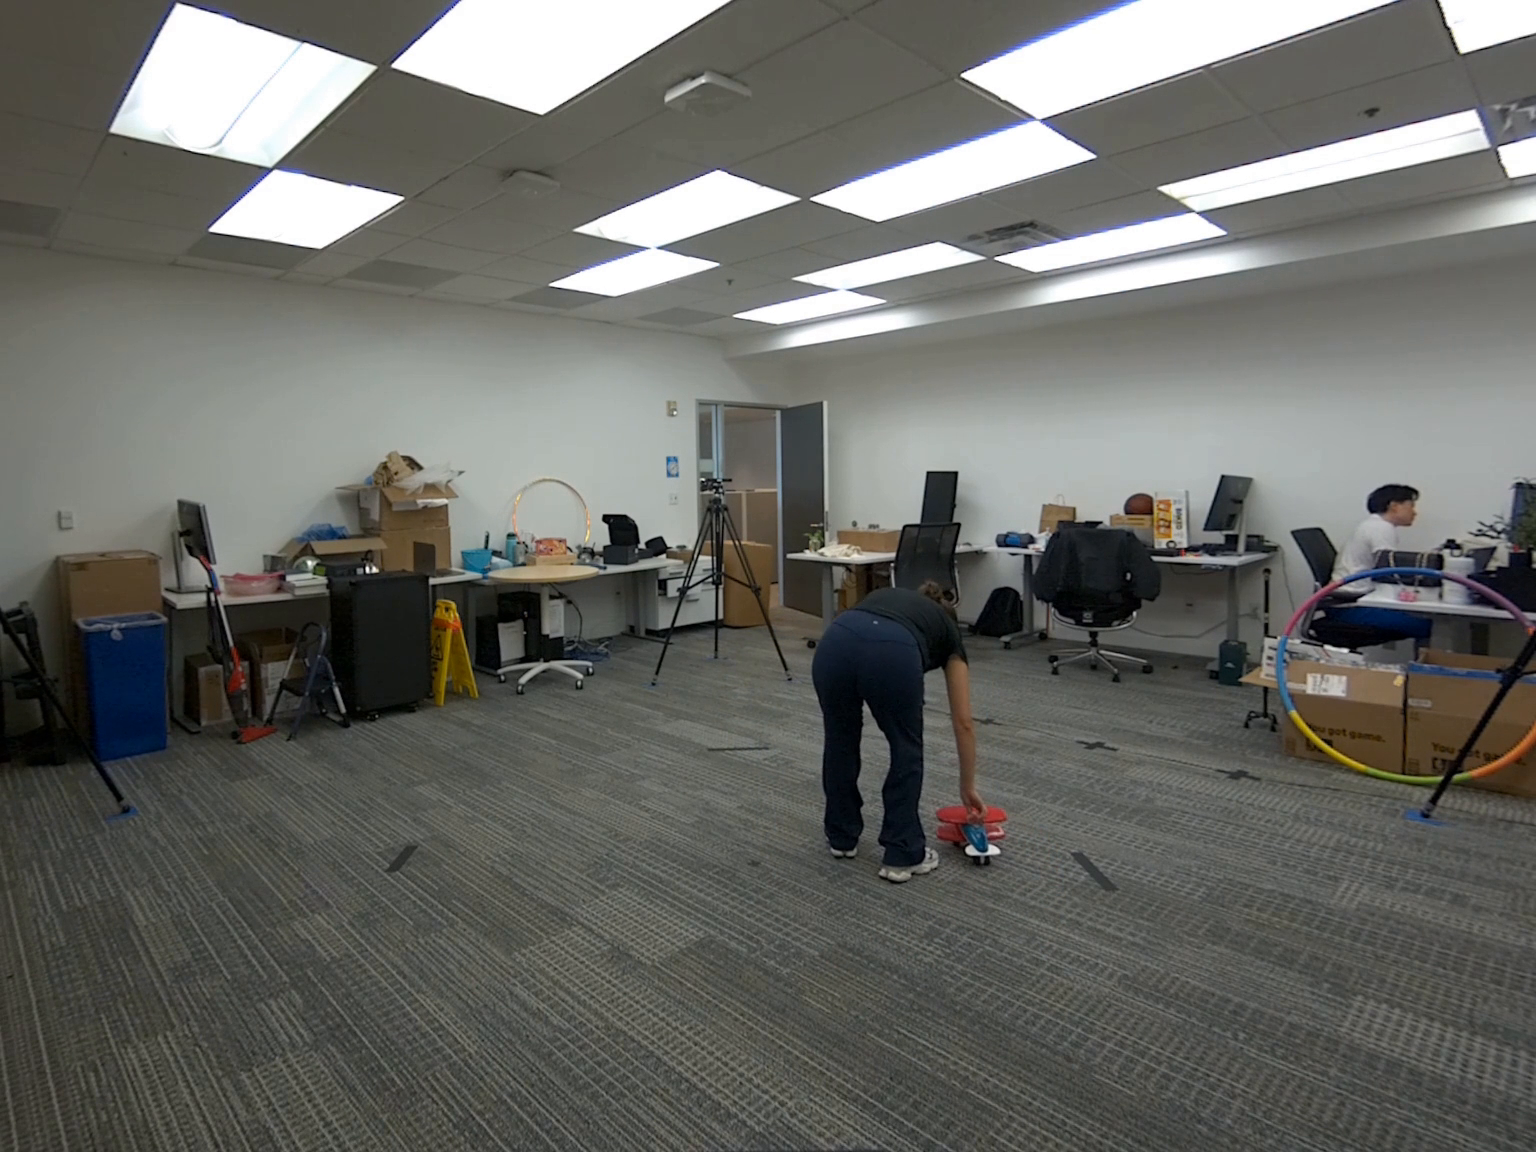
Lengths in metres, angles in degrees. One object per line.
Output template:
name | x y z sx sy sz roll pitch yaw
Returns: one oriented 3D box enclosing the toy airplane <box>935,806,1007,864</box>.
toy airplane | 0.775 0.950 3.148 0.245 0.155 0.267 -6 9 -30
